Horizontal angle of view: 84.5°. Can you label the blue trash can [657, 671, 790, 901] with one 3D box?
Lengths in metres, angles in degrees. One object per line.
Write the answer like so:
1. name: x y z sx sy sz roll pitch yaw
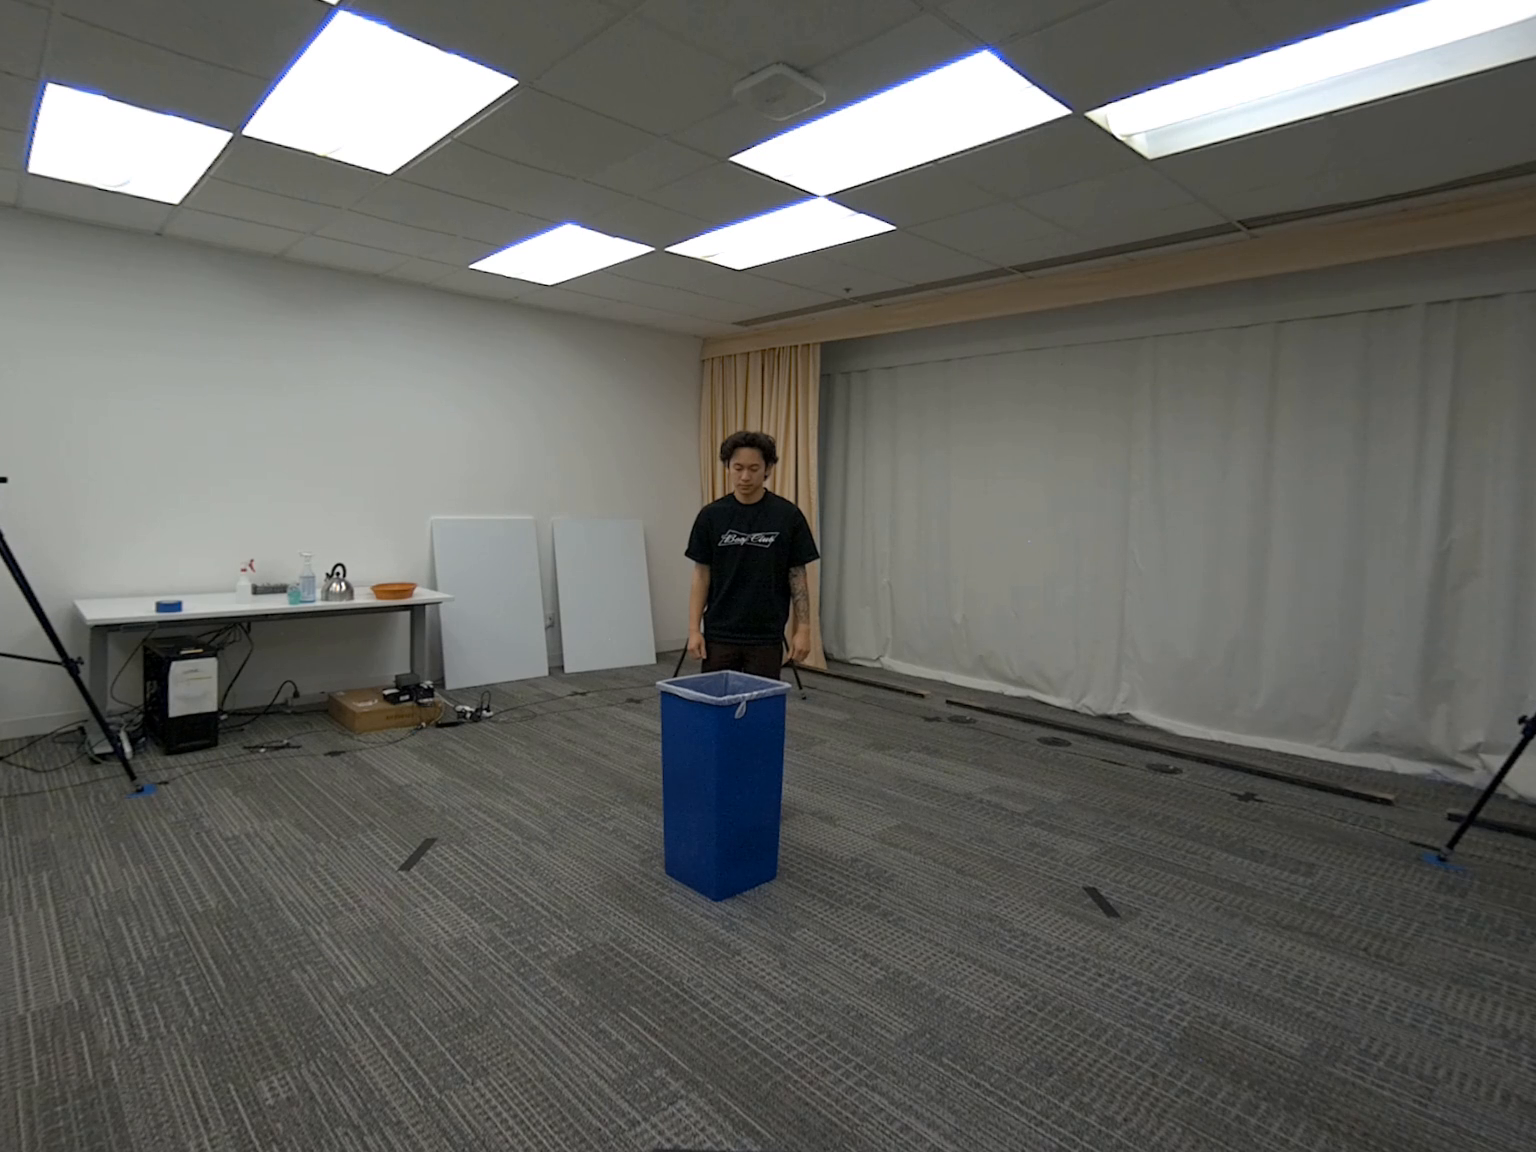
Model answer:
1. blue trash can: -0.182 0.745 3.078 0.369 0.712 0.383 -2 4 -44
